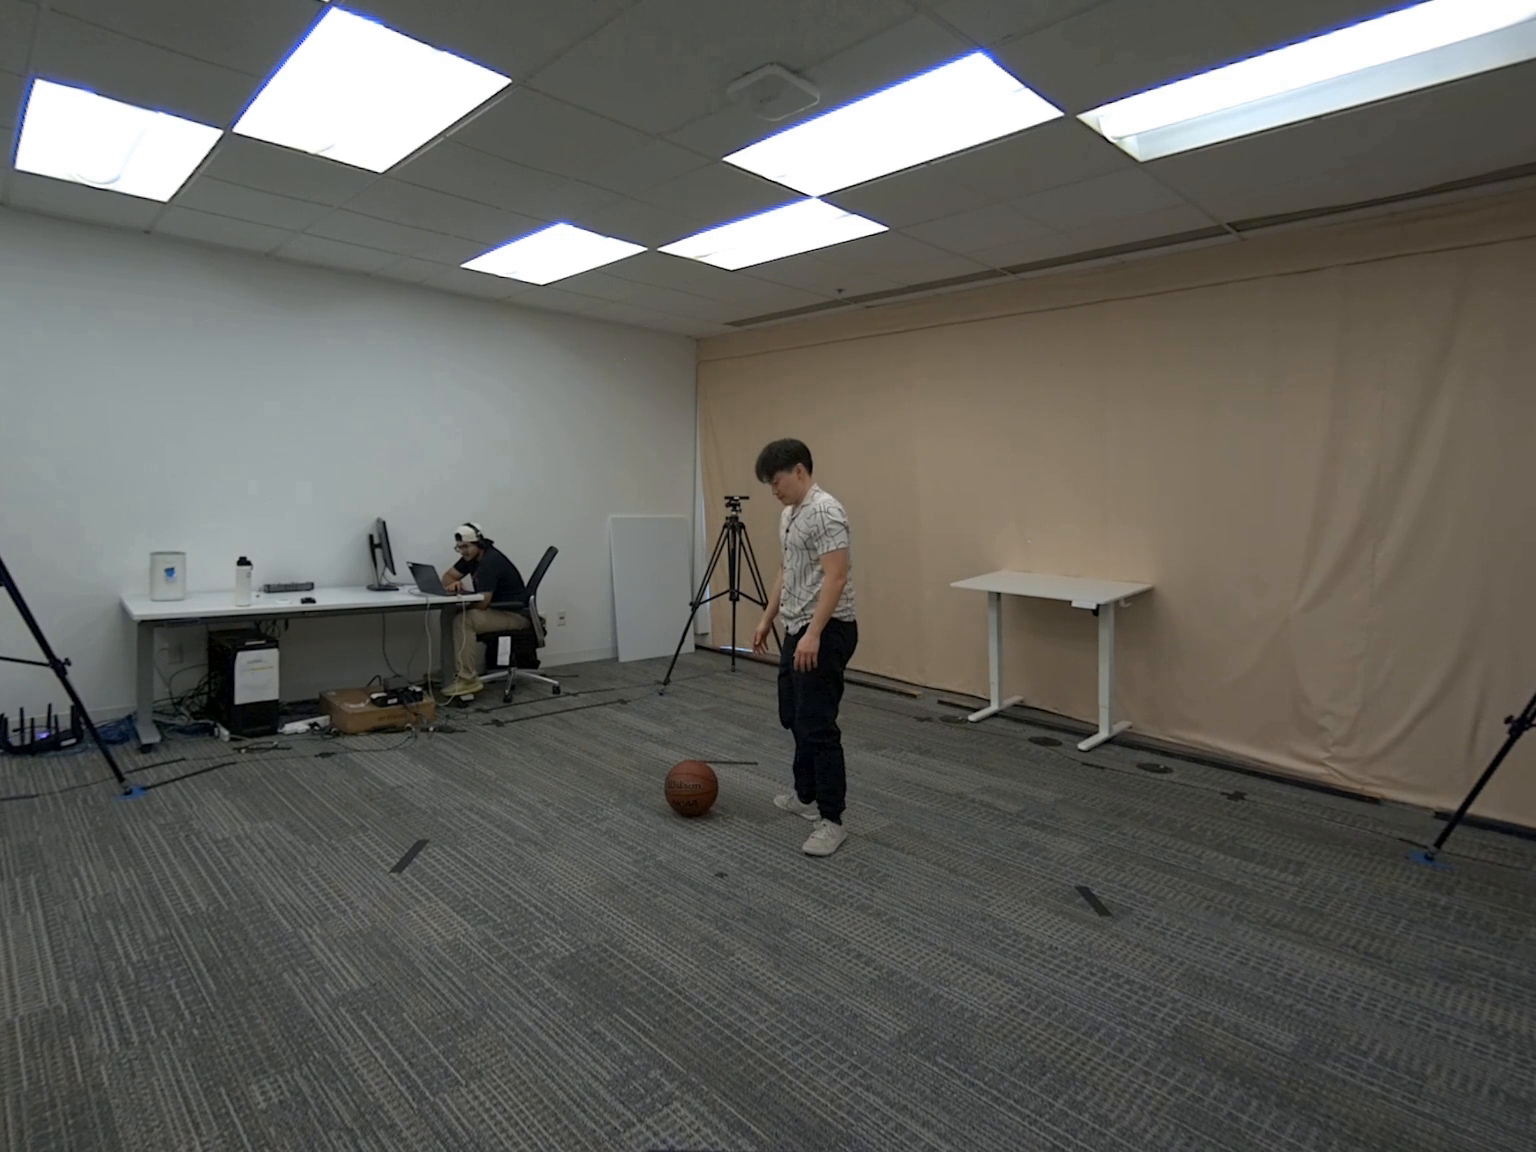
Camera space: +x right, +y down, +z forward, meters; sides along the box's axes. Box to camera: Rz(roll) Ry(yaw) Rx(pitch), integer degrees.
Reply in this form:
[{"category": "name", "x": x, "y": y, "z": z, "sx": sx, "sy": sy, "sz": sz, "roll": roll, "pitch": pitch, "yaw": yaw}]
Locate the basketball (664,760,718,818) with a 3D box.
[{"category": "basketball", "x": -0.343, "y": 0.925, "z": 3.687, "sx": 0.236, "sy": 0.235, "sz": 0.237, "roll": 1, "pitch": 4, "yaw": -1}]
